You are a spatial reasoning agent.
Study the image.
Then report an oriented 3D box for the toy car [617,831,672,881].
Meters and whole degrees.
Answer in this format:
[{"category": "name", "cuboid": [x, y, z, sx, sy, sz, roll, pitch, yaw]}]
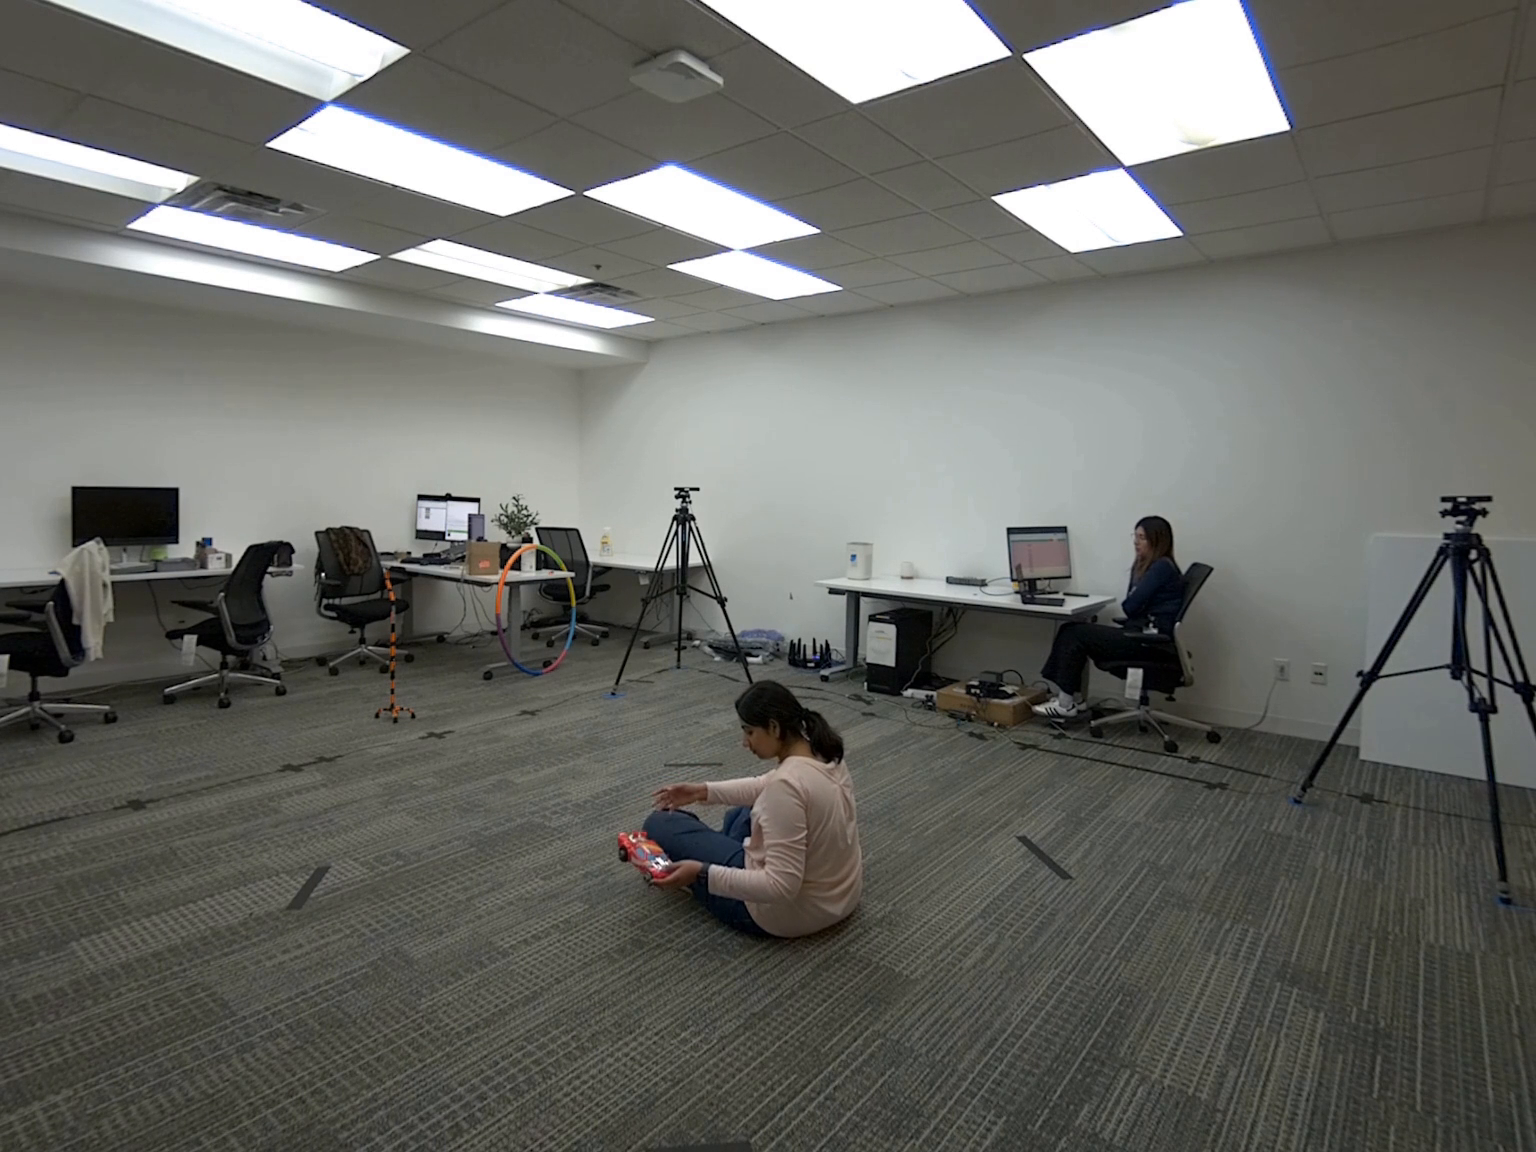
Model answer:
[{"category": "toy car", "cuboid": [-0.384, 0.870, 2.643, 0.126, 0.082, 0.265, 8, 20, -42]}]
